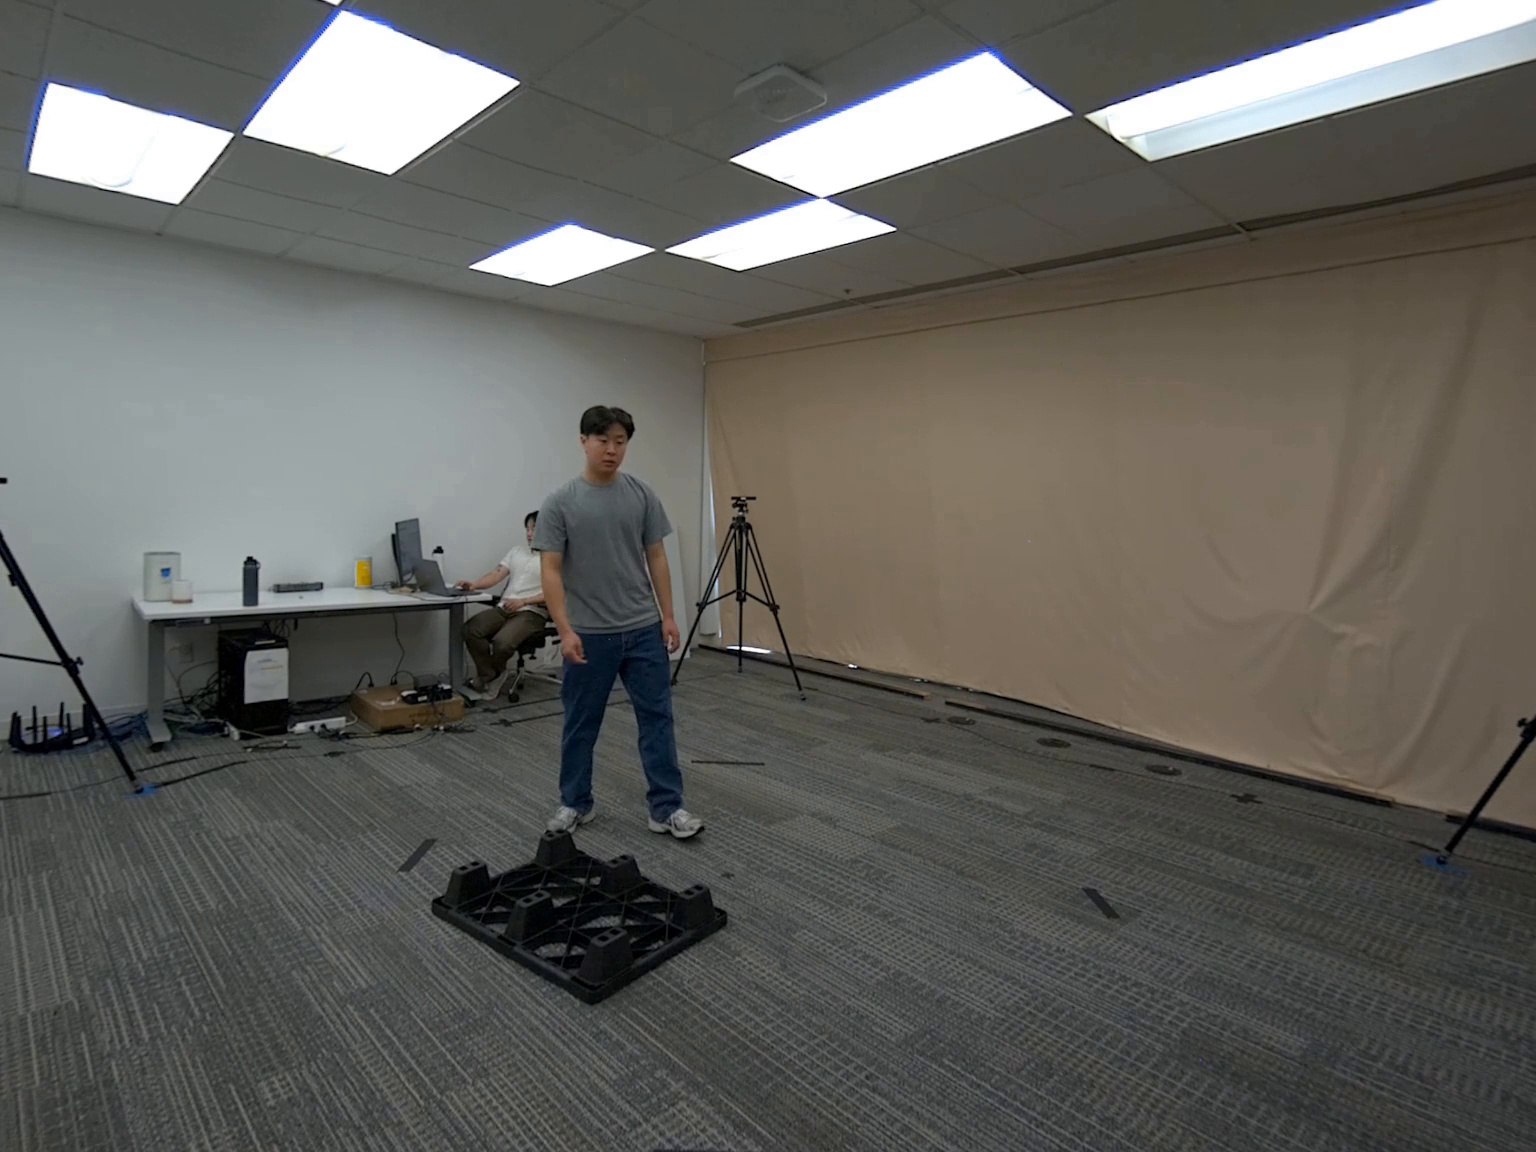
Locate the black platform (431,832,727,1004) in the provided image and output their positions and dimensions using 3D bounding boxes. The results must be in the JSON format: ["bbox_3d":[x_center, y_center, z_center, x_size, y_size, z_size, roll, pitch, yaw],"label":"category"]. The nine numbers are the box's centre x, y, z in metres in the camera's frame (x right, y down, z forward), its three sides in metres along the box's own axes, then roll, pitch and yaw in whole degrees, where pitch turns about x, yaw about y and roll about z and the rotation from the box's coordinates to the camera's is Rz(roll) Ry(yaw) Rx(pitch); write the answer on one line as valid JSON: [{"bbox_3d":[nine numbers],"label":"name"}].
[{"bbox_3d":[-0.631,1.060,2.762,0.825,0.143,0.592,5,6,37],"label":"black platform"}]
